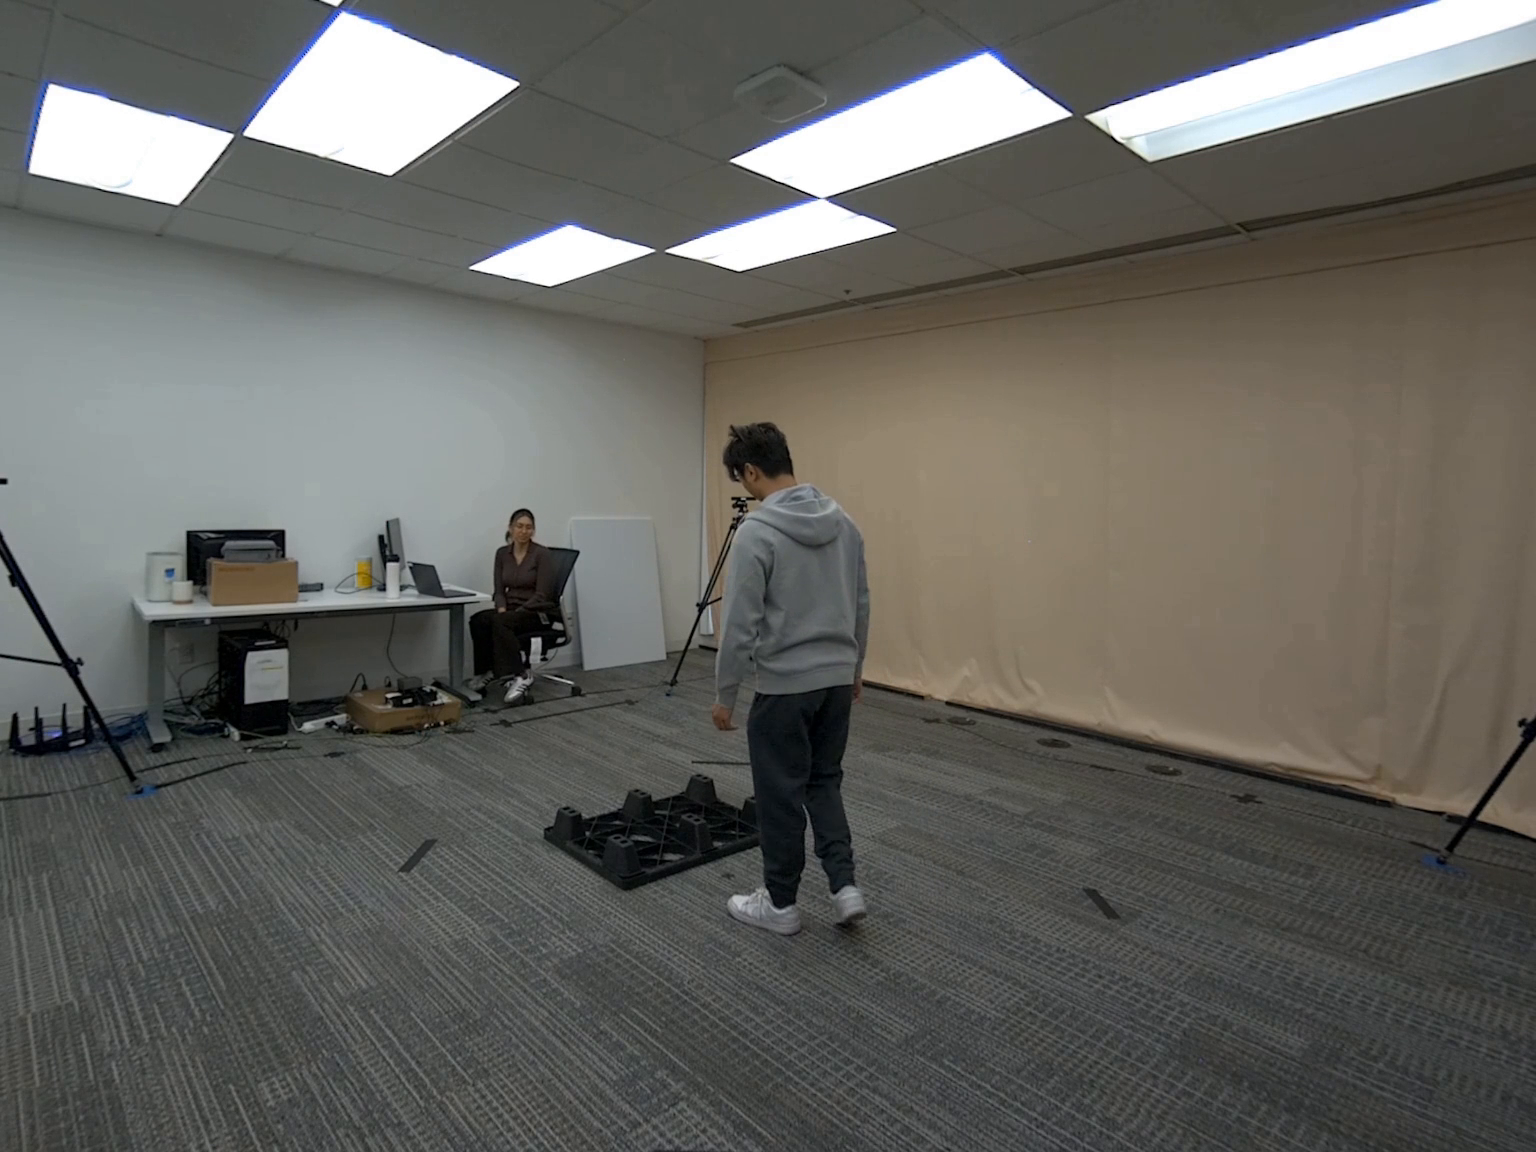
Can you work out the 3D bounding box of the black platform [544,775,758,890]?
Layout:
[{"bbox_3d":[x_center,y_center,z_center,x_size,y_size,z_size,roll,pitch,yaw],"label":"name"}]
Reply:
[{"bbox_3d":[-0.428,1.005,3.437,0.787,0.143,0.621,-3,7,-42],"label":"black platform"}]
